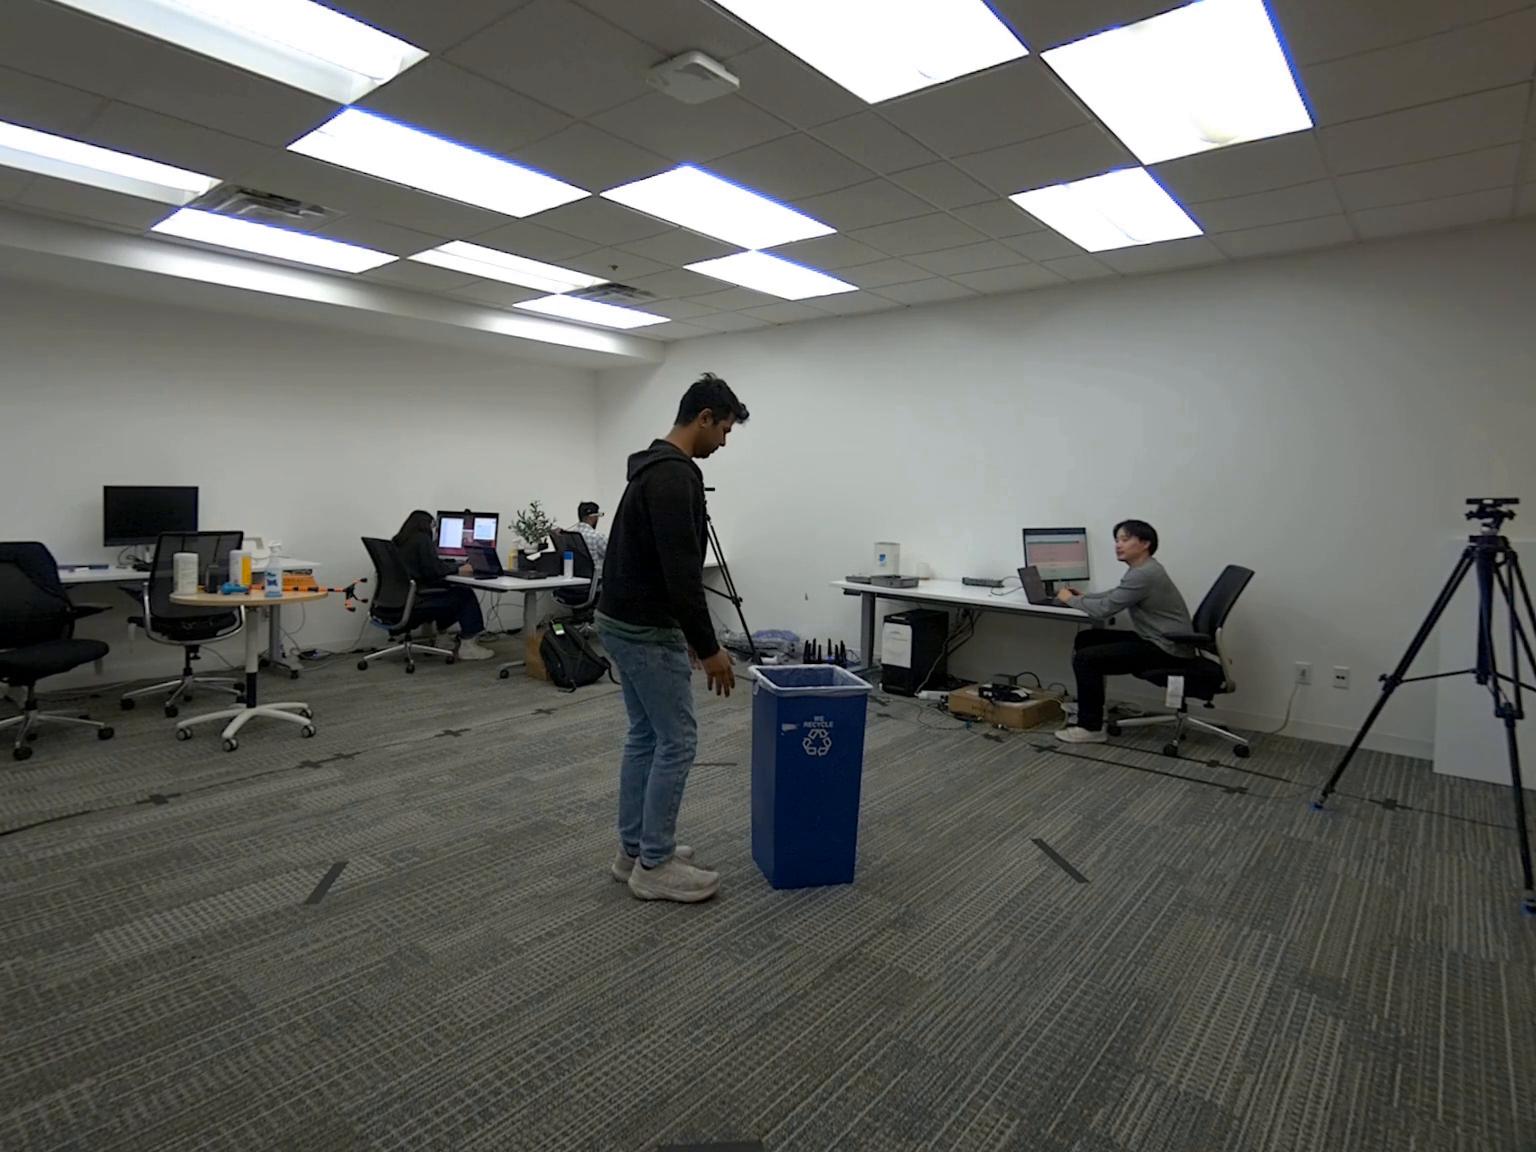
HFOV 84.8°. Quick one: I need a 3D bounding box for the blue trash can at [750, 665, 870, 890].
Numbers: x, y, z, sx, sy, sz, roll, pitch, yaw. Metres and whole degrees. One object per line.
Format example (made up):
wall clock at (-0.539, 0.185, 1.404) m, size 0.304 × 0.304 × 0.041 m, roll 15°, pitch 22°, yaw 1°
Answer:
blue trash can at (0.135, 0.720, 3.113) m, size 0.368 × 0.711 × 0.385 m, roll 2°, pitch 4°, yaw -16°
